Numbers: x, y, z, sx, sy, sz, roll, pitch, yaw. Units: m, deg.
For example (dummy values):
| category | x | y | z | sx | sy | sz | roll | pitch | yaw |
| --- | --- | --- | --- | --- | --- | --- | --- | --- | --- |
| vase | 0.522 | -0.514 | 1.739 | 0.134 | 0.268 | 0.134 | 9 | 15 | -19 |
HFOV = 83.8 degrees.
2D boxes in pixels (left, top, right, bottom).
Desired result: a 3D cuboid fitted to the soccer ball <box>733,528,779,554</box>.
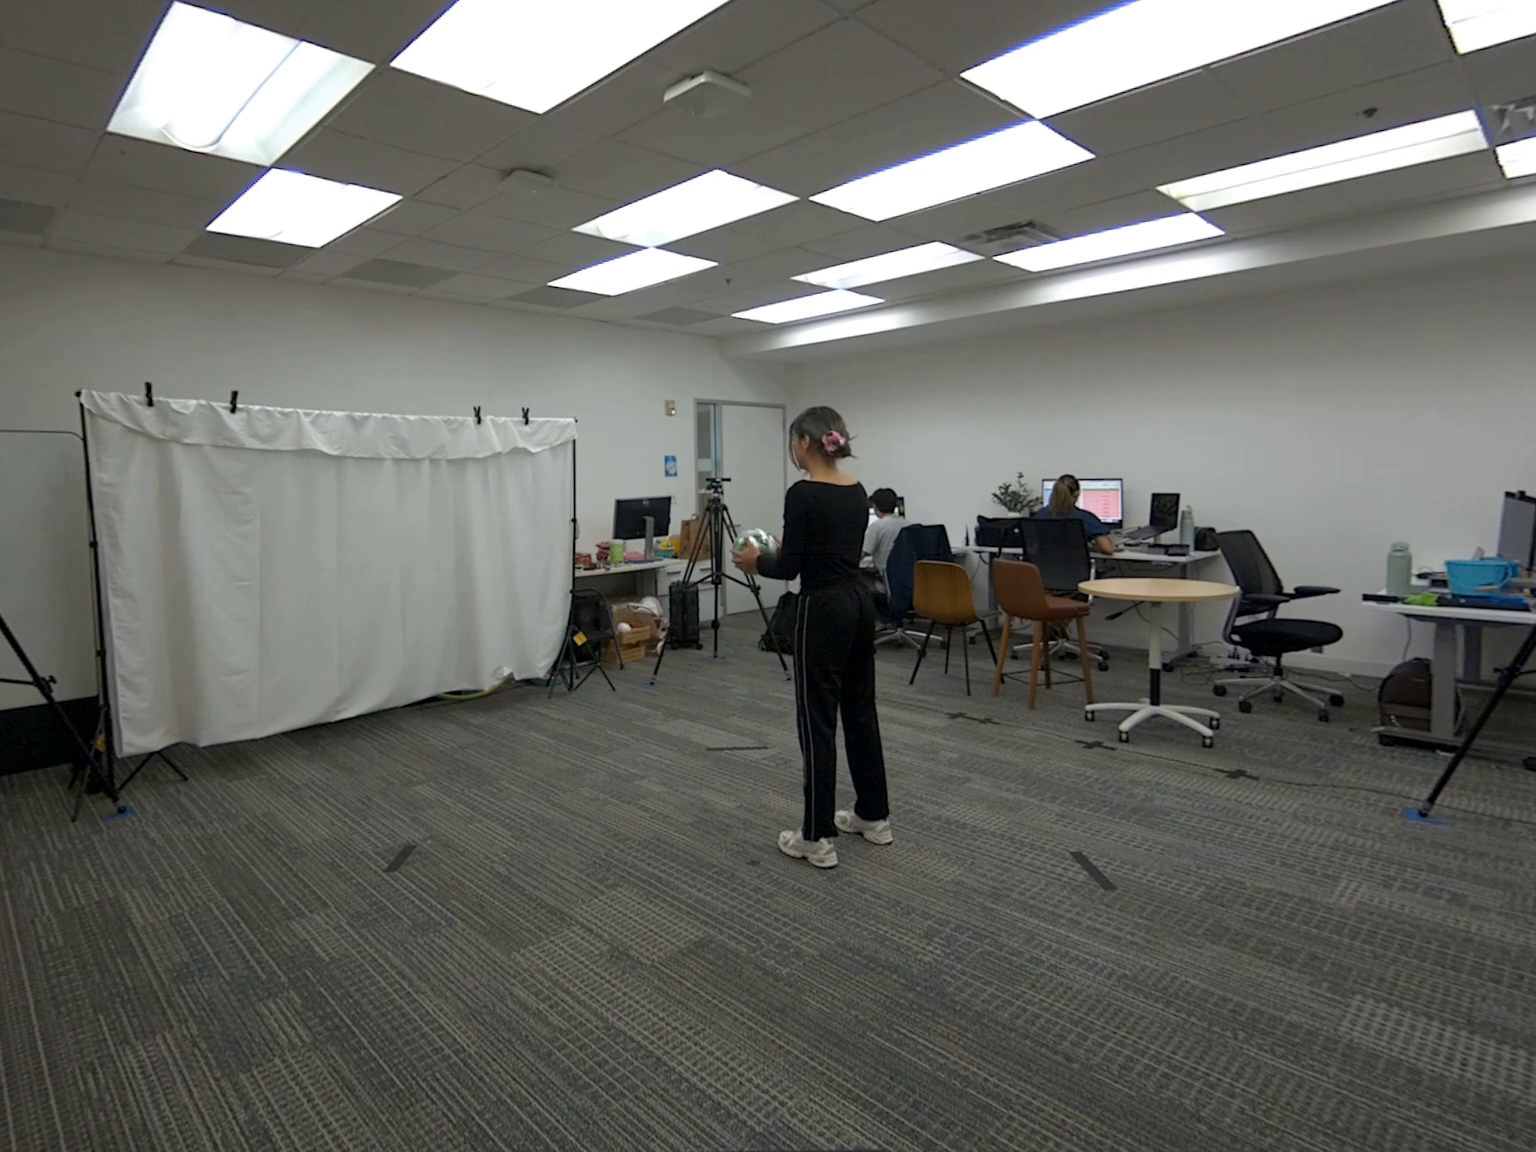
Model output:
| category | x | y | z | sx | sy | sz | roll | pitch | yaw |
| --- | --- | --- | --- | --- | --- | --- | --- | --- | --- |
| soccer ball | -0.042 | -0.076 | 3.445 | 0.187 | 0.187 | 0.188 | -1 | 5 | -2 |
